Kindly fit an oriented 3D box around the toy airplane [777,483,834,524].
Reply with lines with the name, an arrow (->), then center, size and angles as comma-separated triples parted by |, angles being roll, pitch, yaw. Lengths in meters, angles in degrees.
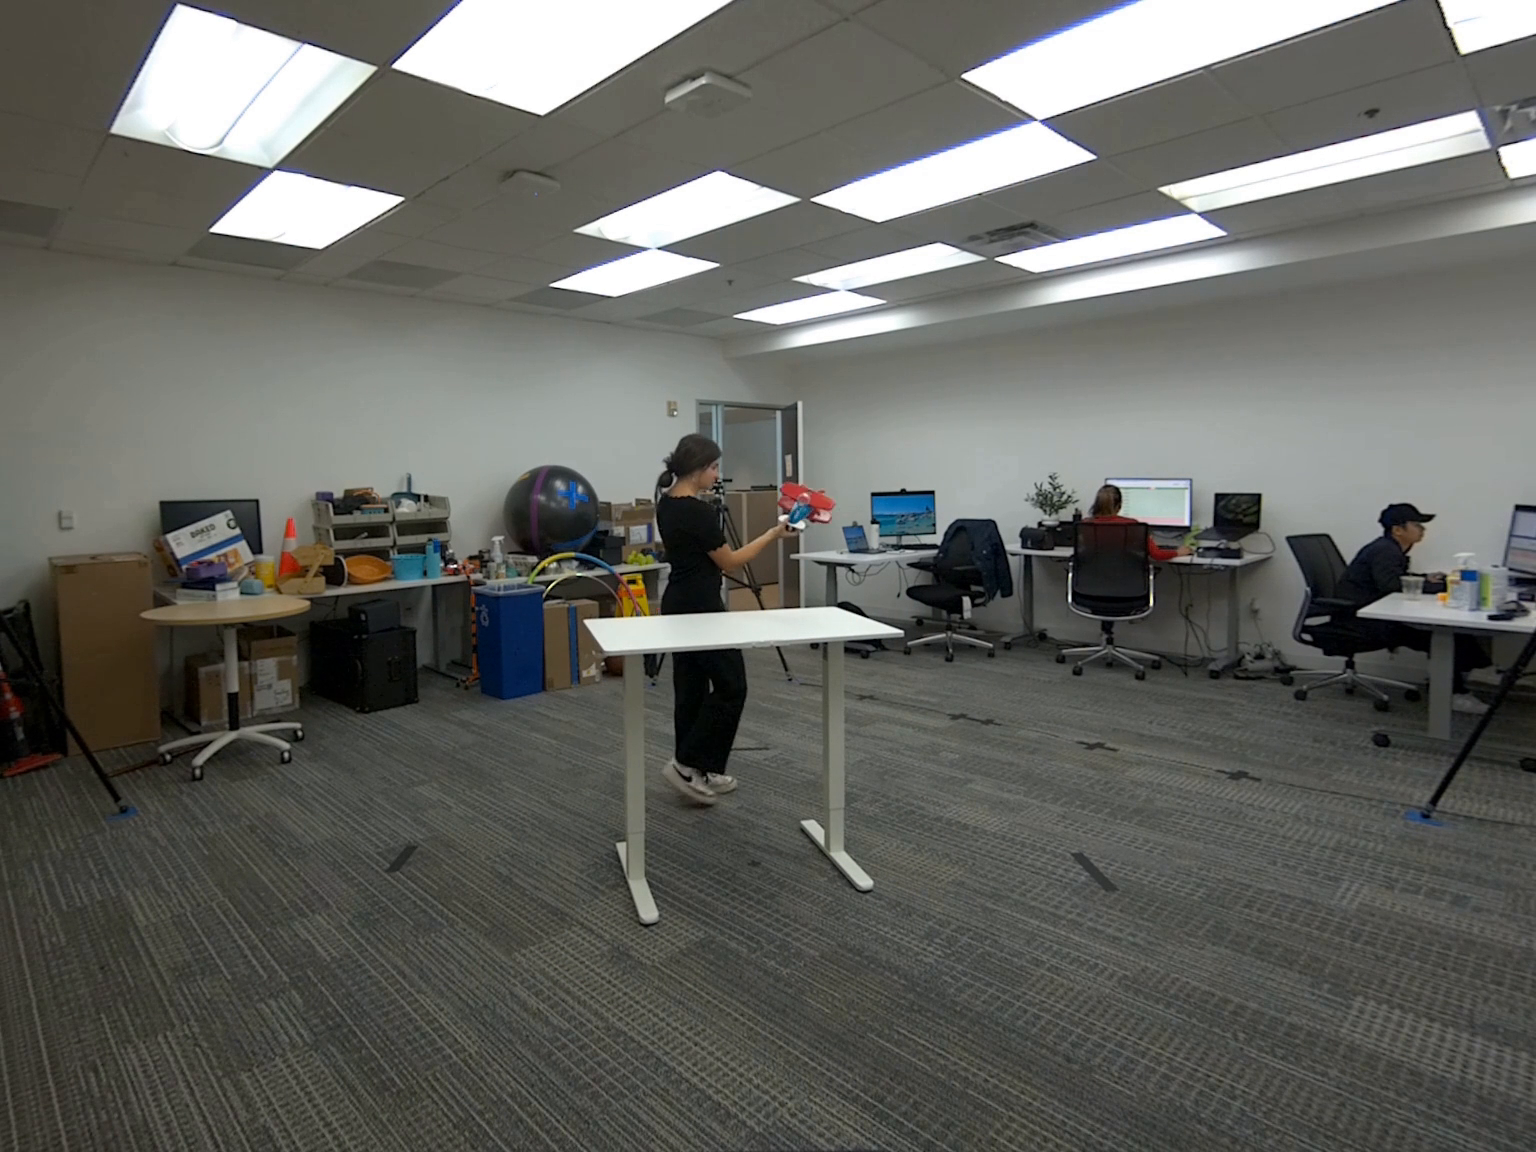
toy airplane -> 0.164, -0.284, 3.771 | 0.249, 0.154, 0.266 | 8, 29, -9
